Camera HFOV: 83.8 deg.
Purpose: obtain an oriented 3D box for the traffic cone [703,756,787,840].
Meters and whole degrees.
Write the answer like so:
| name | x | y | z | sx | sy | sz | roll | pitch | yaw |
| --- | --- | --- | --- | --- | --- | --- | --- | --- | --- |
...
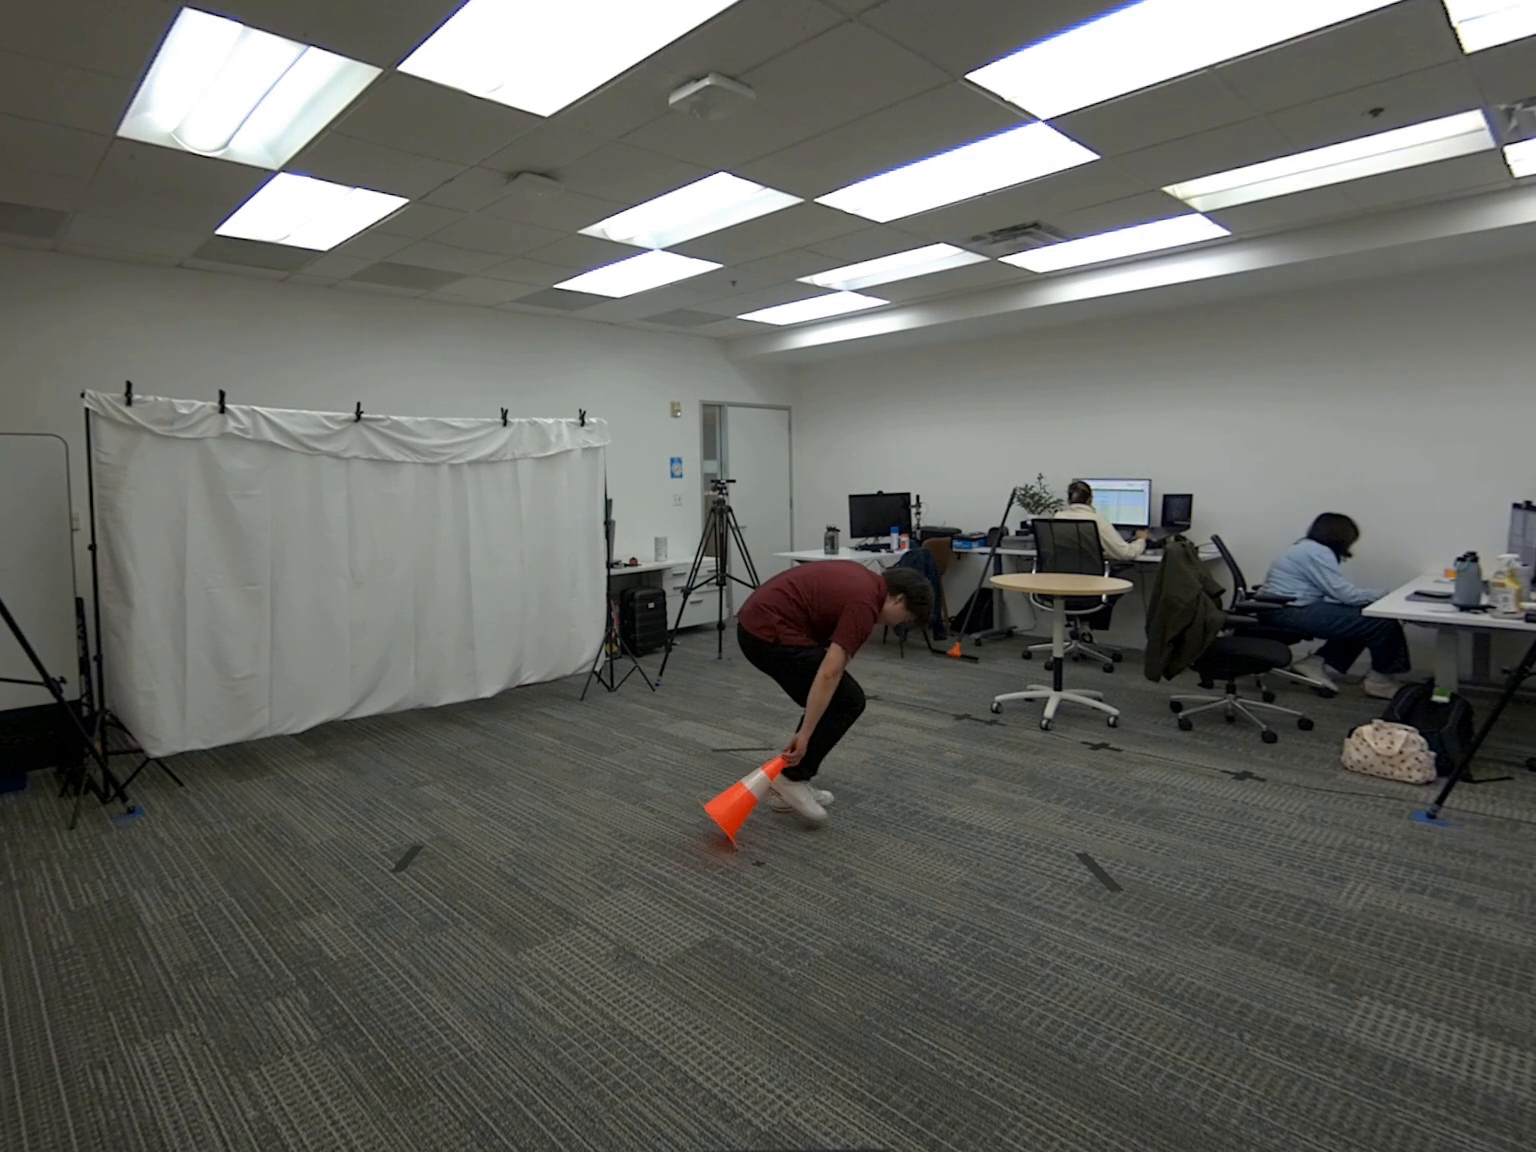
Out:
| name | x | y | z | sx | sy | sz | roll | pitch | yaw |
| --- | --- | --- | --- | --- | --- | --- | --- | --- | --- |
| traffic cone | -0.057 | 0.829 | 3.312 | 0.383 | 0.201 | 0.208 | -41 | 9 | -13 |
